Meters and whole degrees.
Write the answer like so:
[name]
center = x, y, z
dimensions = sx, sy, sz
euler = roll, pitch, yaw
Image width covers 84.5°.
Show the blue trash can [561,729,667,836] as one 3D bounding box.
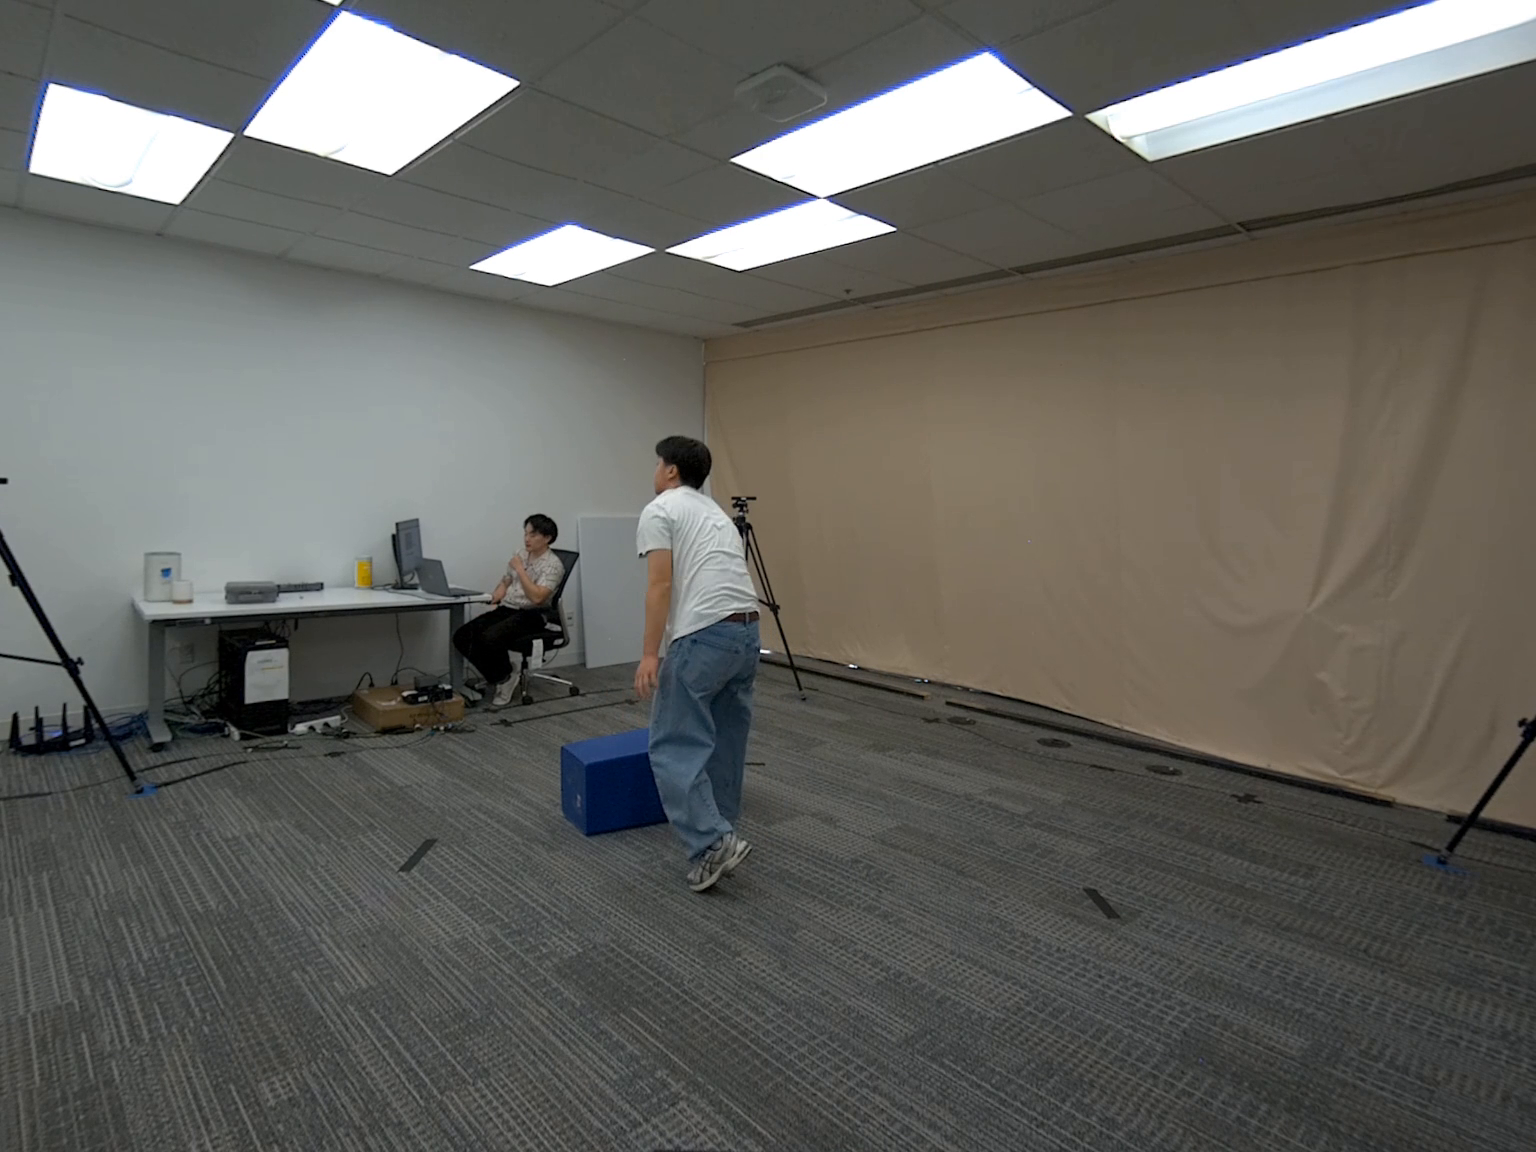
[blue trash can]
center = -0.522, 0.868, 3.709
dimensions = 0.699, 0.373, 0.387
euler = -3, 6, -31
